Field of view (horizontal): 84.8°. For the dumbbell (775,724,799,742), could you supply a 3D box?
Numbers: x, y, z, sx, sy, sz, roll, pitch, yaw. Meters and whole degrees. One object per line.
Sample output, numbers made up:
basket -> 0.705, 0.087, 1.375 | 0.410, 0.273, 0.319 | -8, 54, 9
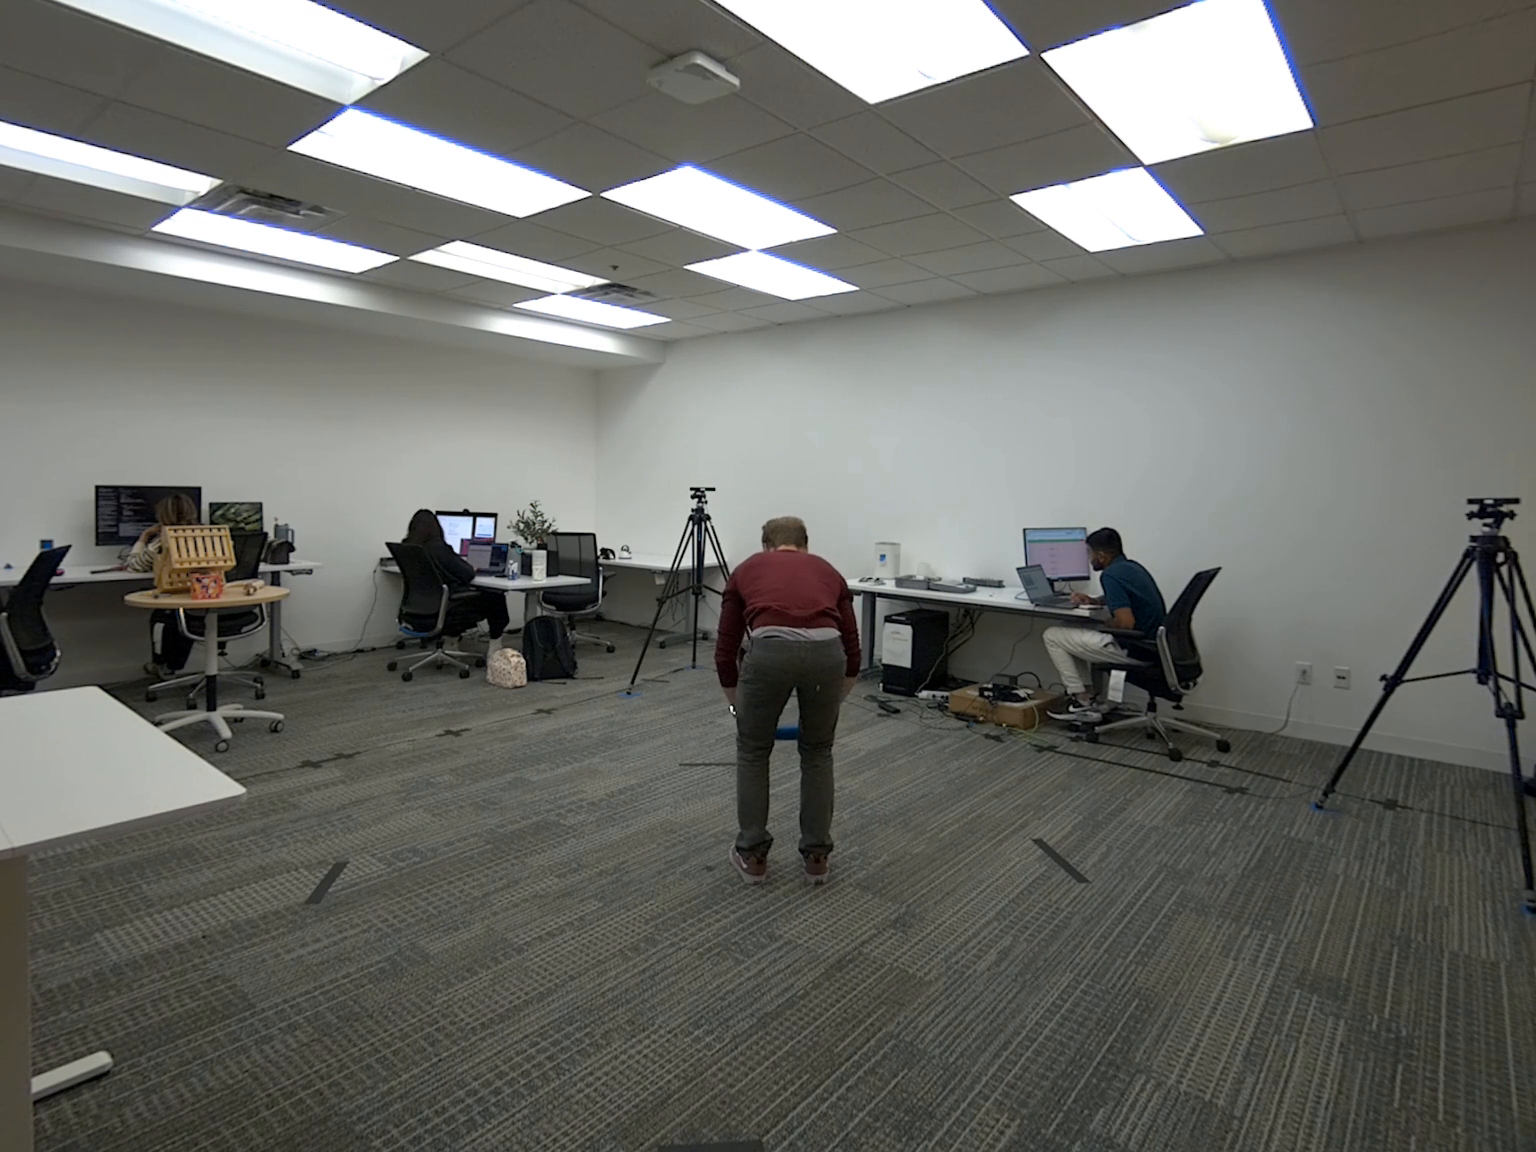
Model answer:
dumbbell -> 0.057, 0.613, 3.333 | 0.294, 0.111, 0.120 | 0, -19, 3
